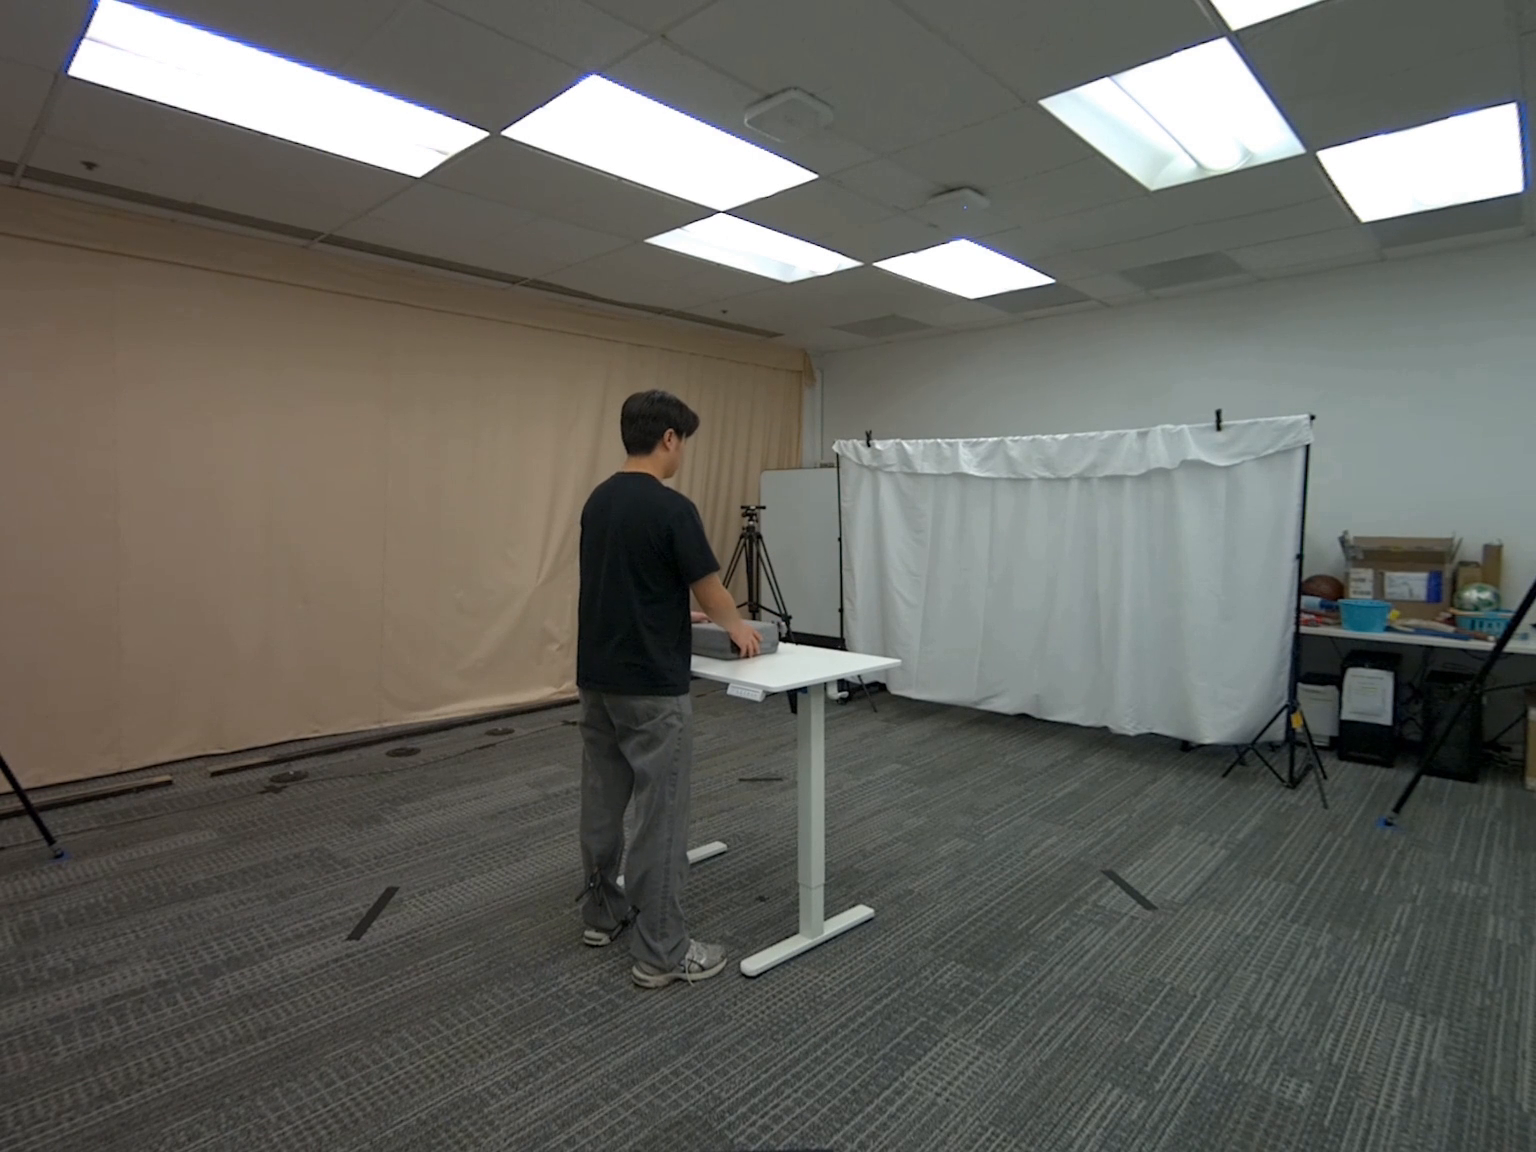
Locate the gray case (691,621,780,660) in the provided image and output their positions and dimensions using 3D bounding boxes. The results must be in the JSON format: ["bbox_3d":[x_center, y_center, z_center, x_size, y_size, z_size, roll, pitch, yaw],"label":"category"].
[{"bbox_3d":[-0.131,0.217,2.944,0.255,0.103,0.296,-4,5,-38],"label":"gray case"}]
